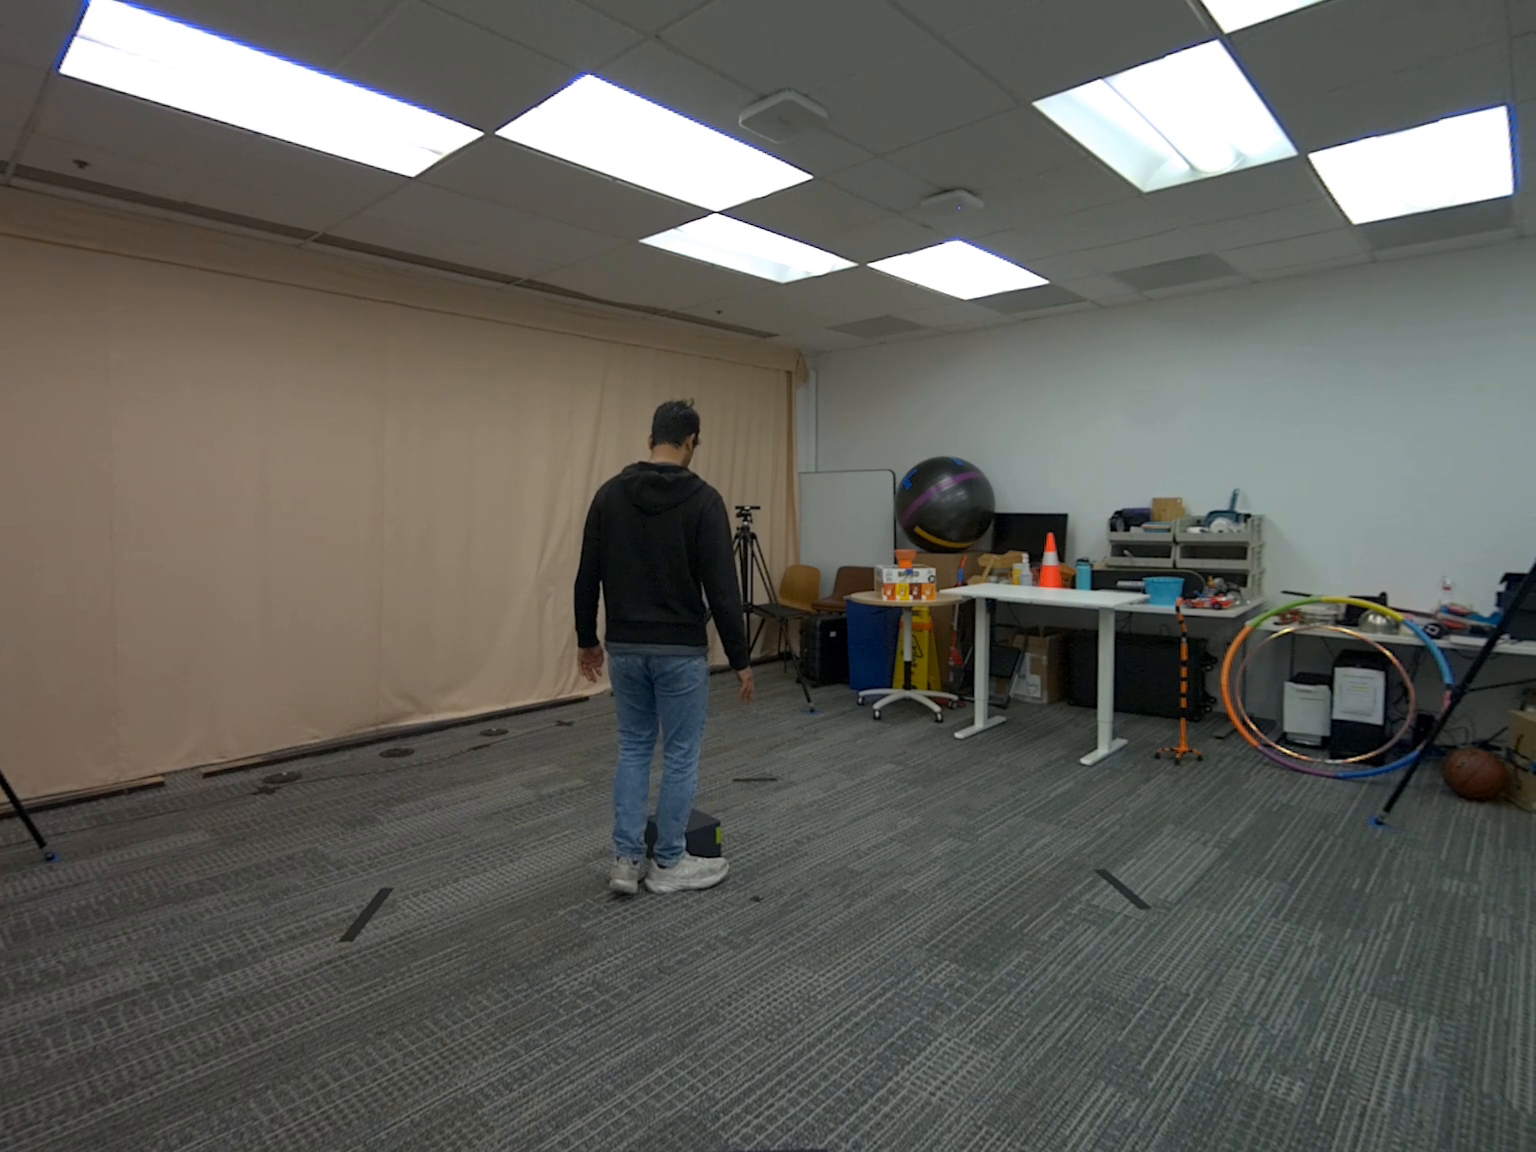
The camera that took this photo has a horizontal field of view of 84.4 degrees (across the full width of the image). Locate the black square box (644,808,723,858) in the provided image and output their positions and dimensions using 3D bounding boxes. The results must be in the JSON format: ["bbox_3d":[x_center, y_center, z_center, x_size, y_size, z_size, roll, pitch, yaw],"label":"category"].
[{"bbox_3d":[-0.314,1.032,3.346,0.210,0.155,0.235,-4,6,-39],"label":"black square box"}]
